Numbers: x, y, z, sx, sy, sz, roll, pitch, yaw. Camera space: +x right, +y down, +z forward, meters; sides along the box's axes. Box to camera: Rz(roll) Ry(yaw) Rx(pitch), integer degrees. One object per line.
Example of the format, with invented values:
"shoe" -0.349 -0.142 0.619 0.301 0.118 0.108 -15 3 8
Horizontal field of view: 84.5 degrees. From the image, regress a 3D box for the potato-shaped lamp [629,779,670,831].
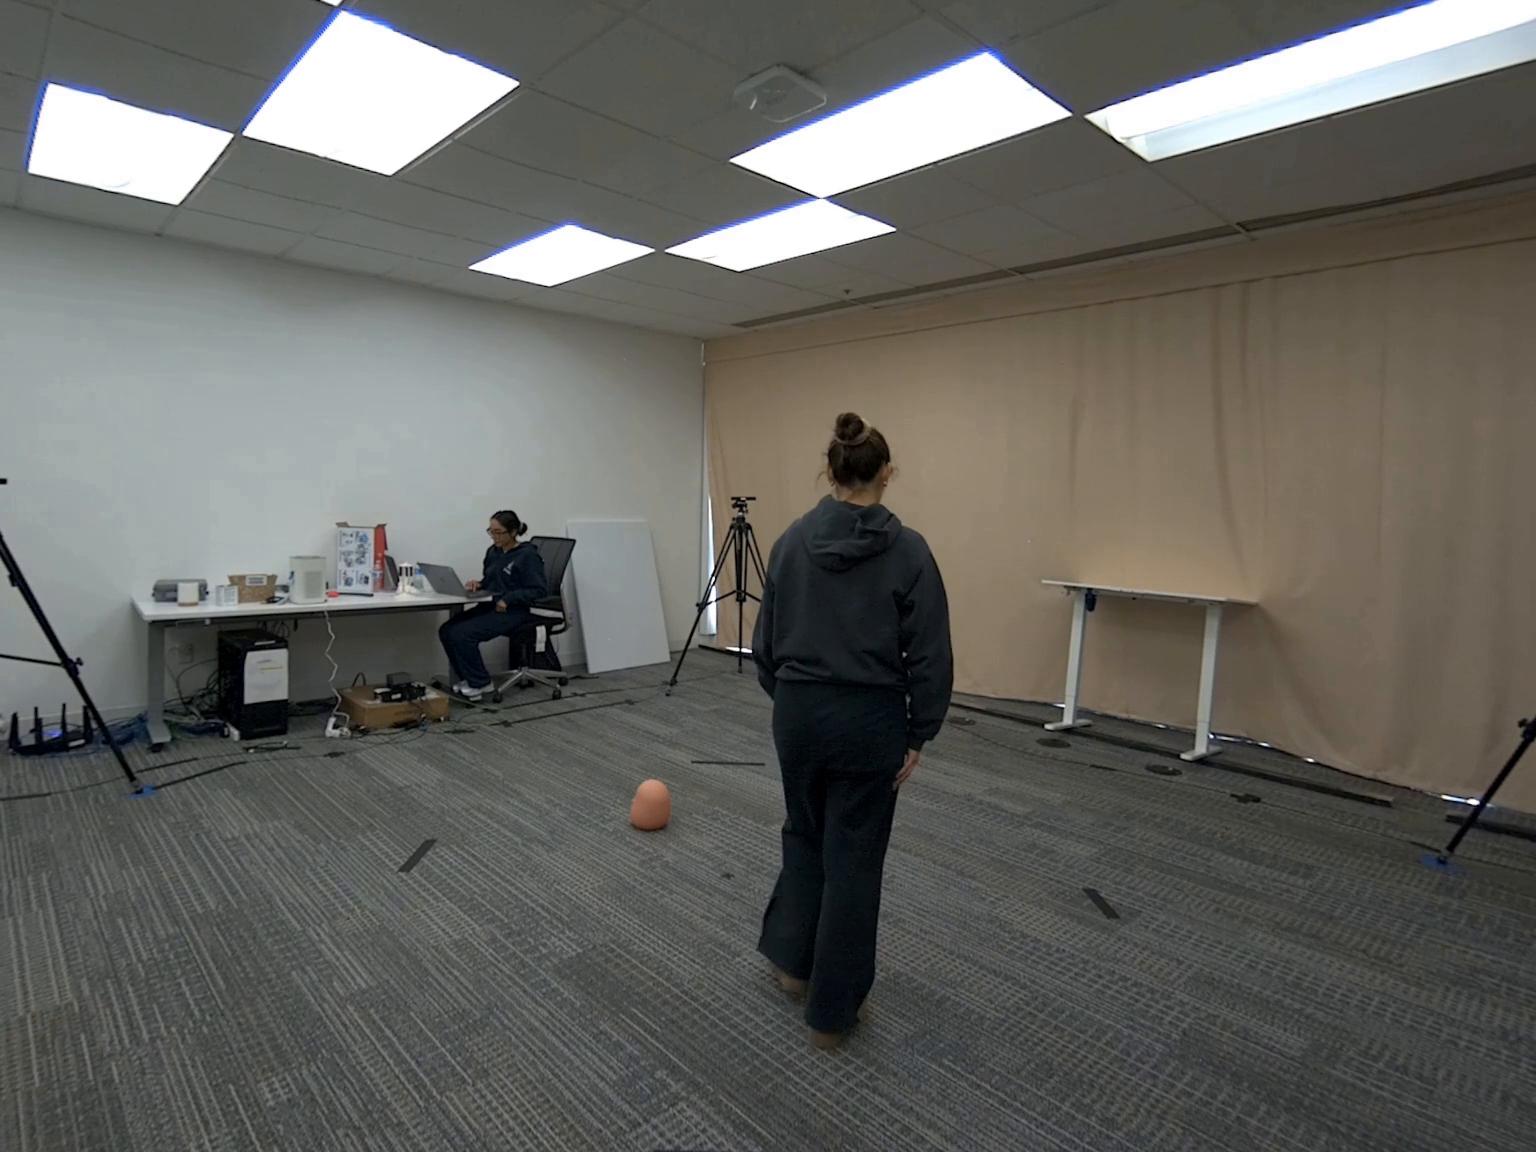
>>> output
"potato-shaped lamp" -0.507 0.960 3.562 0.176 0.198 0.161 4 2 45
